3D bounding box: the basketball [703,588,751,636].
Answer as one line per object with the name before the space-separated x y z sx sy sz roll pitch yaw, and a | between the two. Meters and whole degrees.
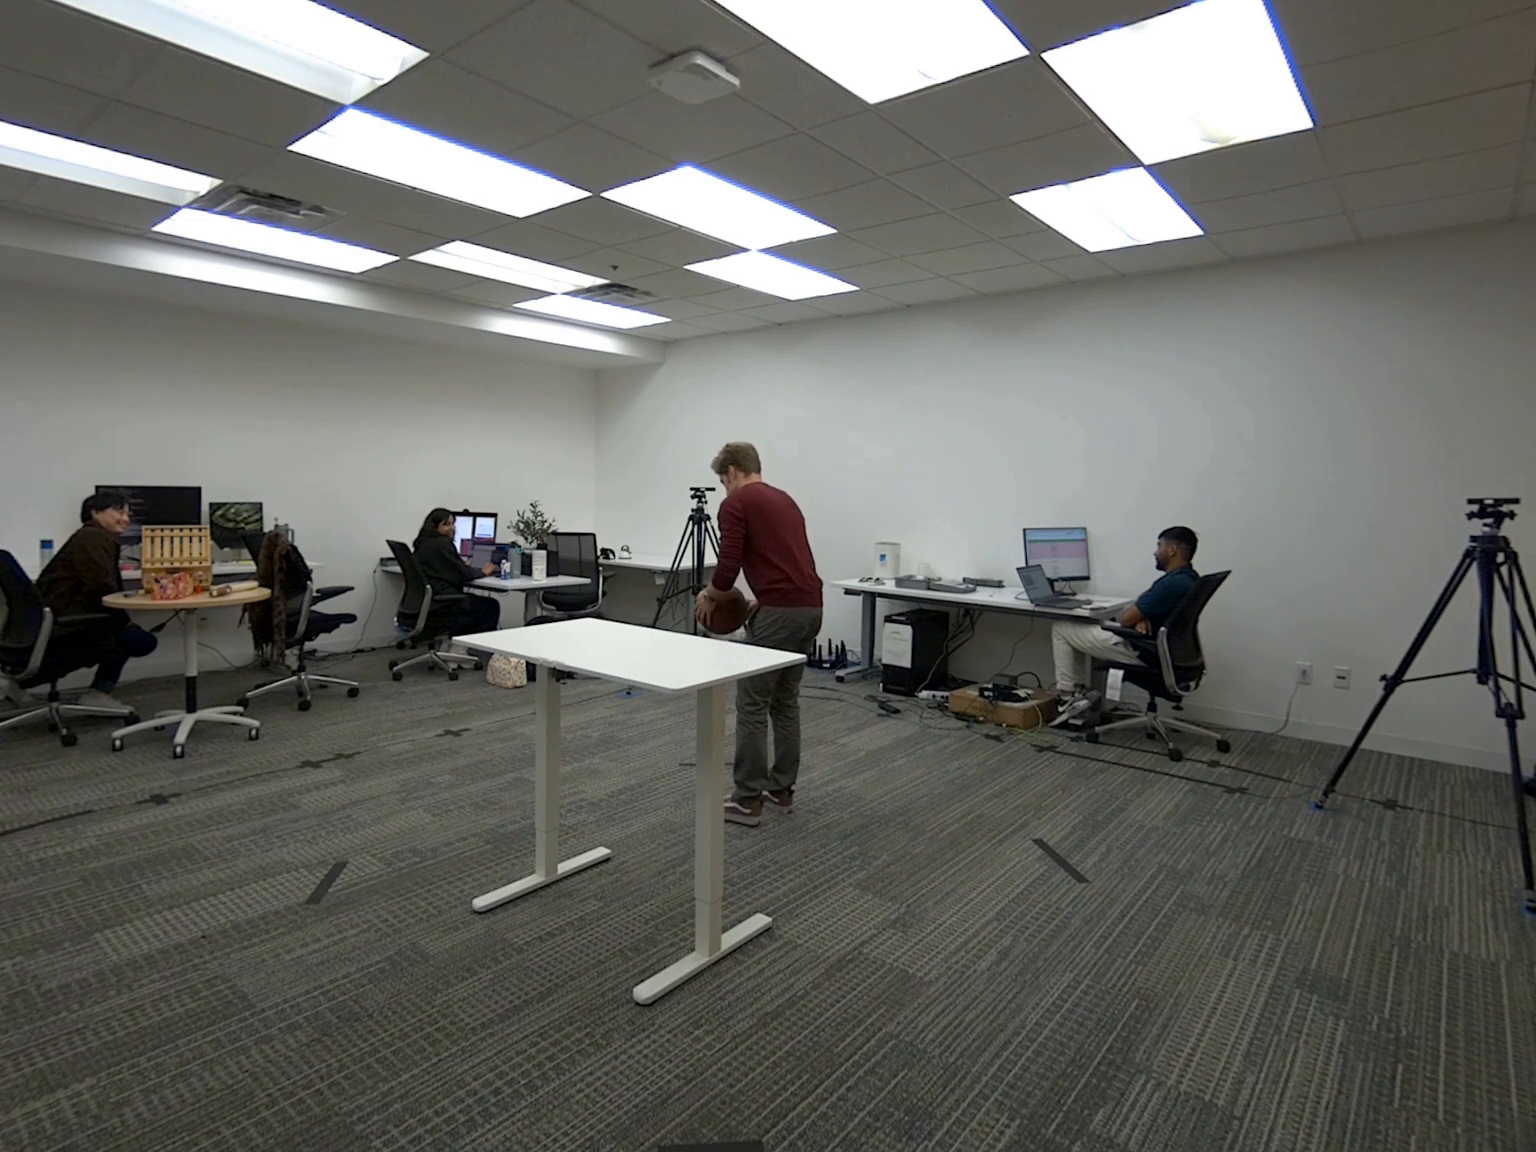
basketball | -0.217 0.147 3.905 0.235 0.235 0.237 1 4 -2
